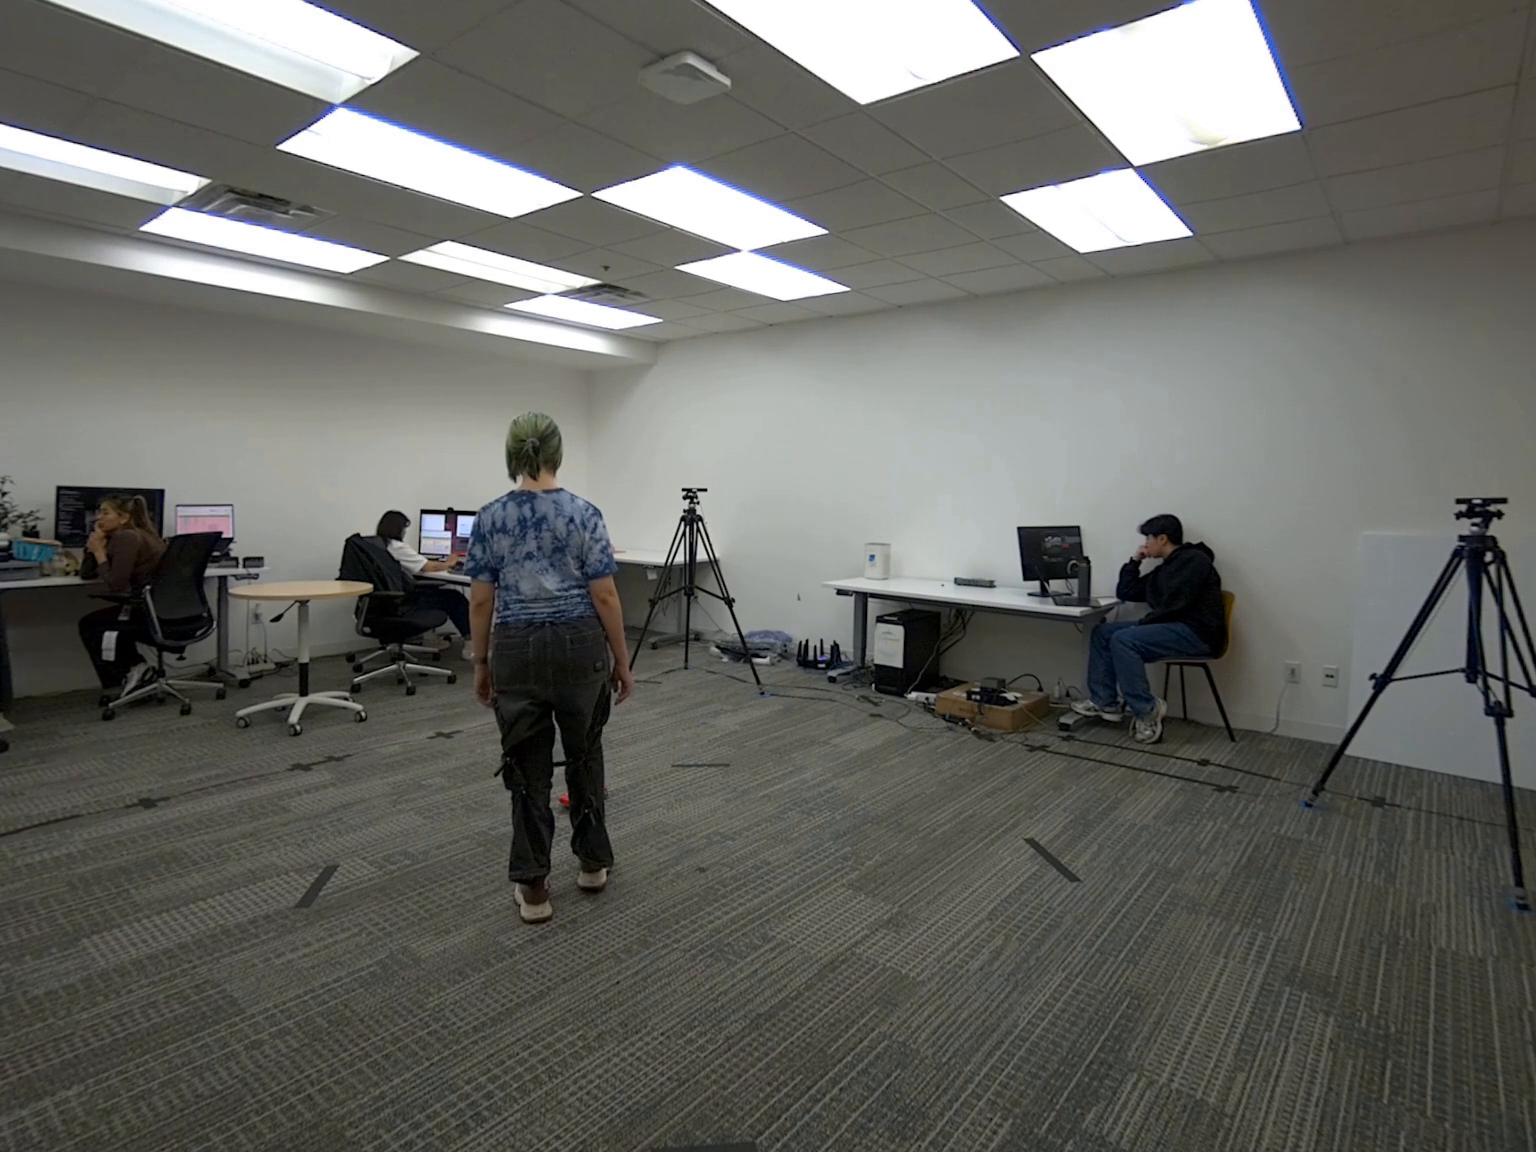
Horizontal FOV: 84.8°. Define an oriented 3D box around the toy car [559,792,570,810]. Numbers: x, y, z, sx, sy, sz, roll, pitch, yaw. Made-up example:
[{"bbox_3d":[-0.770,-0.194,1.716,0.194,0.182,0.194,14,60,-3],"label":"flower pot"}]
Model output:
[{"bbox_3d":[-0.821,0.961,3.742,0.134,0.084,0.246,3,-6,27],"label":"toy car"}]
